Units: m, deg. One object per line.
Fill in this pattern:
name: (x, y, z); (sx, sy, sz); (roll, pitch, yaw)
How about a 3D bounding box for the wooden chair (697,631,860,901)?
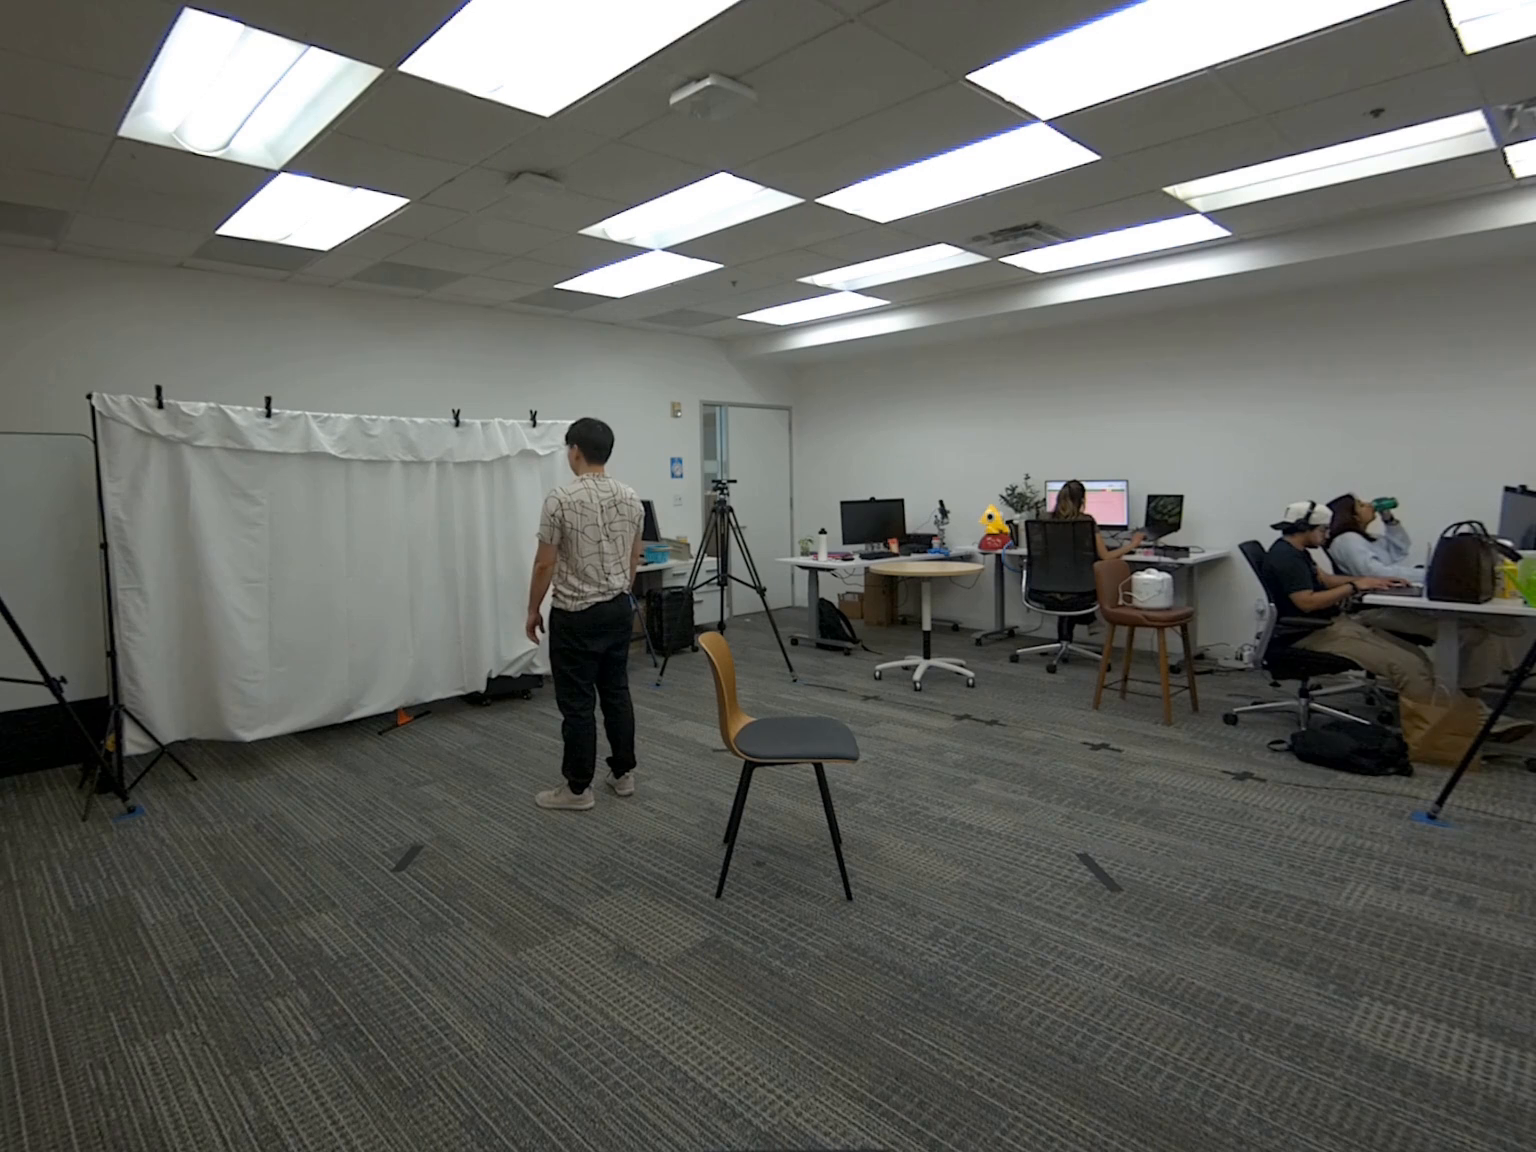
wooden chair: (0.056, 0.628, 3.034); (0.524, 0.874, 0.479); (-5, 3, 1)
